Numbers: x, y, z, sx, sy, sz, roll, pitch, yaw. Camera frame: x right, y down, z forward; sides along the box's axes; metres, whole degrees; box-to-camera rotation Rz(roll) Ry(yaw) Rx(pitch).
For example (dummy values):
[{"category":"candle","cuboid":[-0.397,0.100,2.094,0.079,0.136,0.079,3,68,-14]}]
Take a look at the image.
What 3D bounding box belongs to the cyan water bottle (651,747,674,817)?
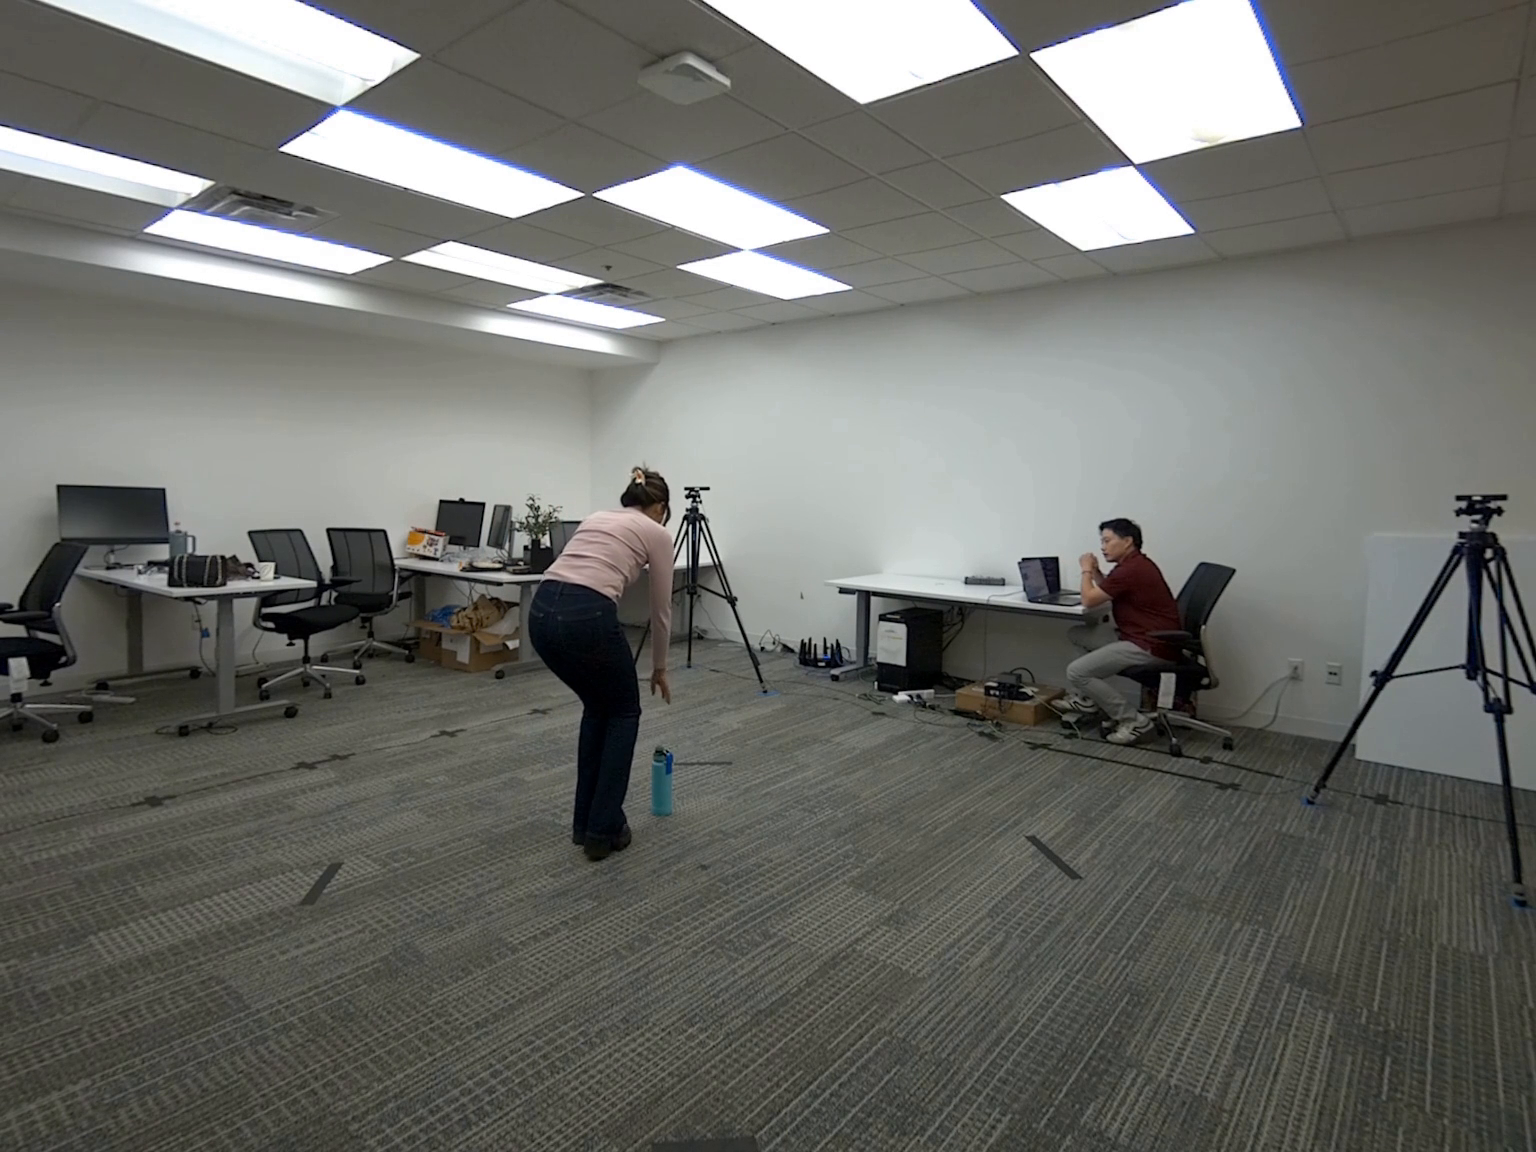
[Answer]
[{"category":"cyan water bottle","cuboid":[-0.465,0.870,3.645,0.092,0.282,0.093,1,3,-2]}]
